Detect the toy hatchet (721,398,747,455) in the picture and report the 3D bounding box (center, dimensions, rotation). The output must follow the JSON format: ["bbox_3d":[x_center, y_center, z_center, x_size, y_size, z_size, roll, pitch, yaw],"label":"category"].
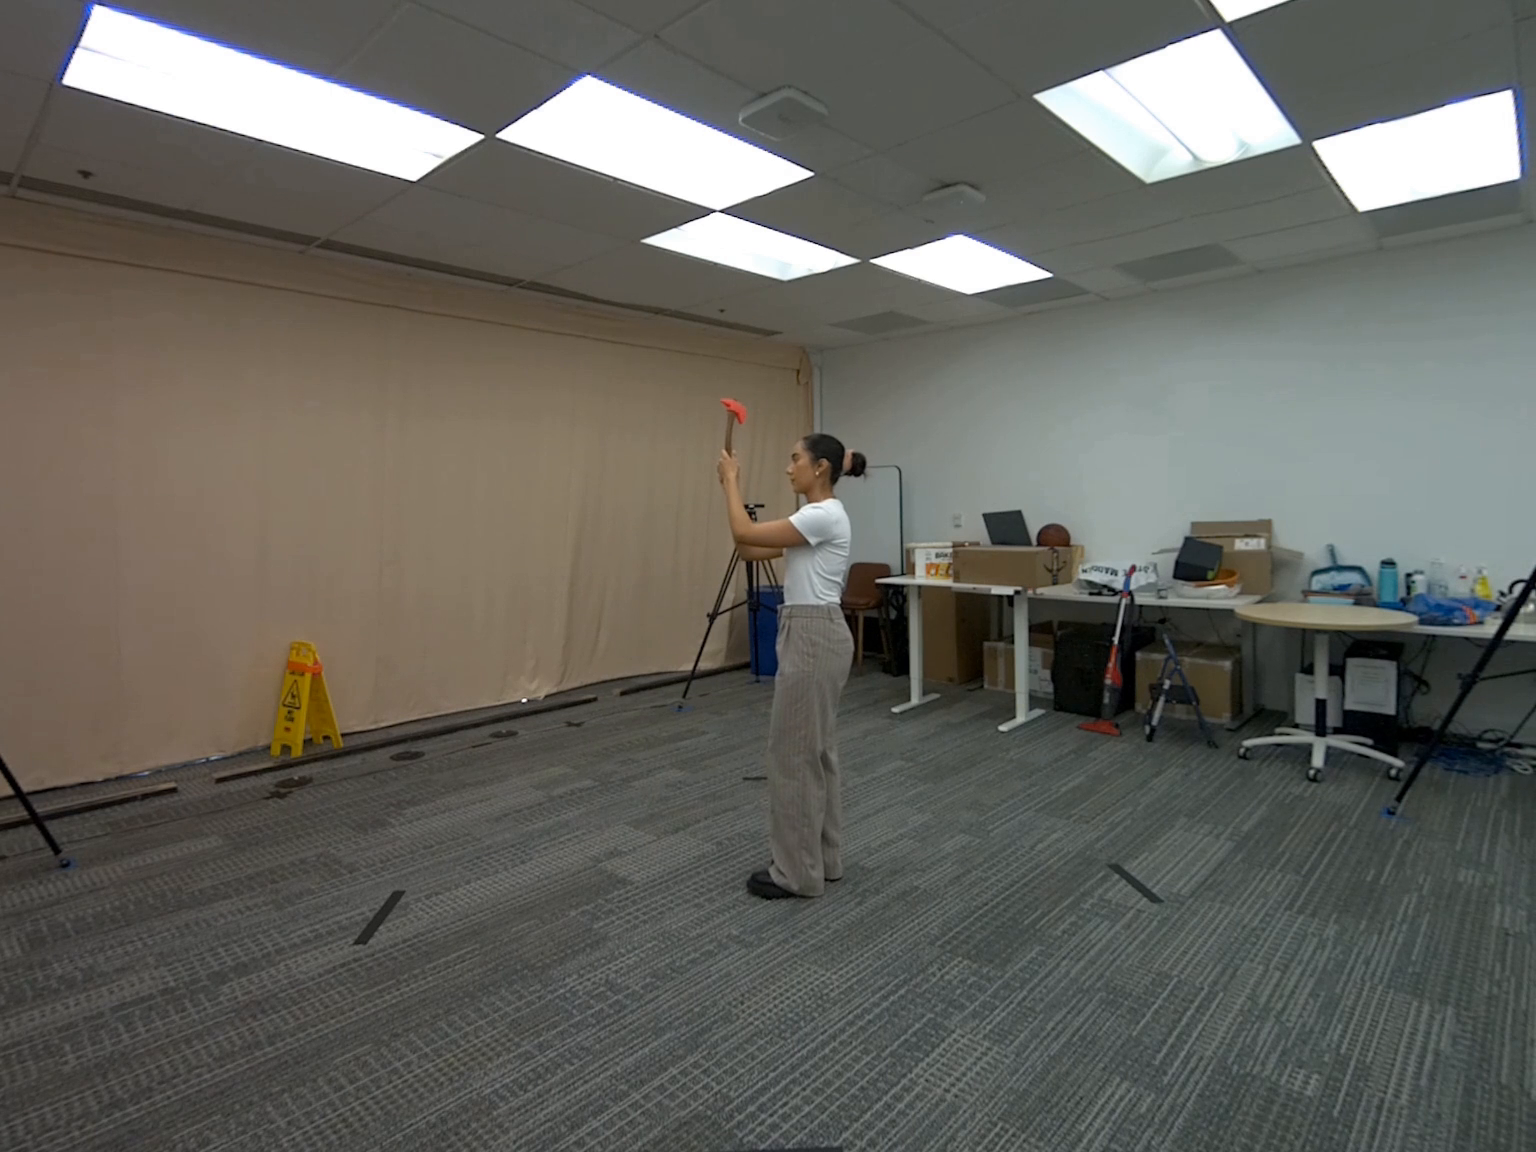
[{"bbox_3d":[-0.112,-0.536,3.166,0.030,0.270,0.127,-7,-3,45],"label":"toy hatchet"}]
